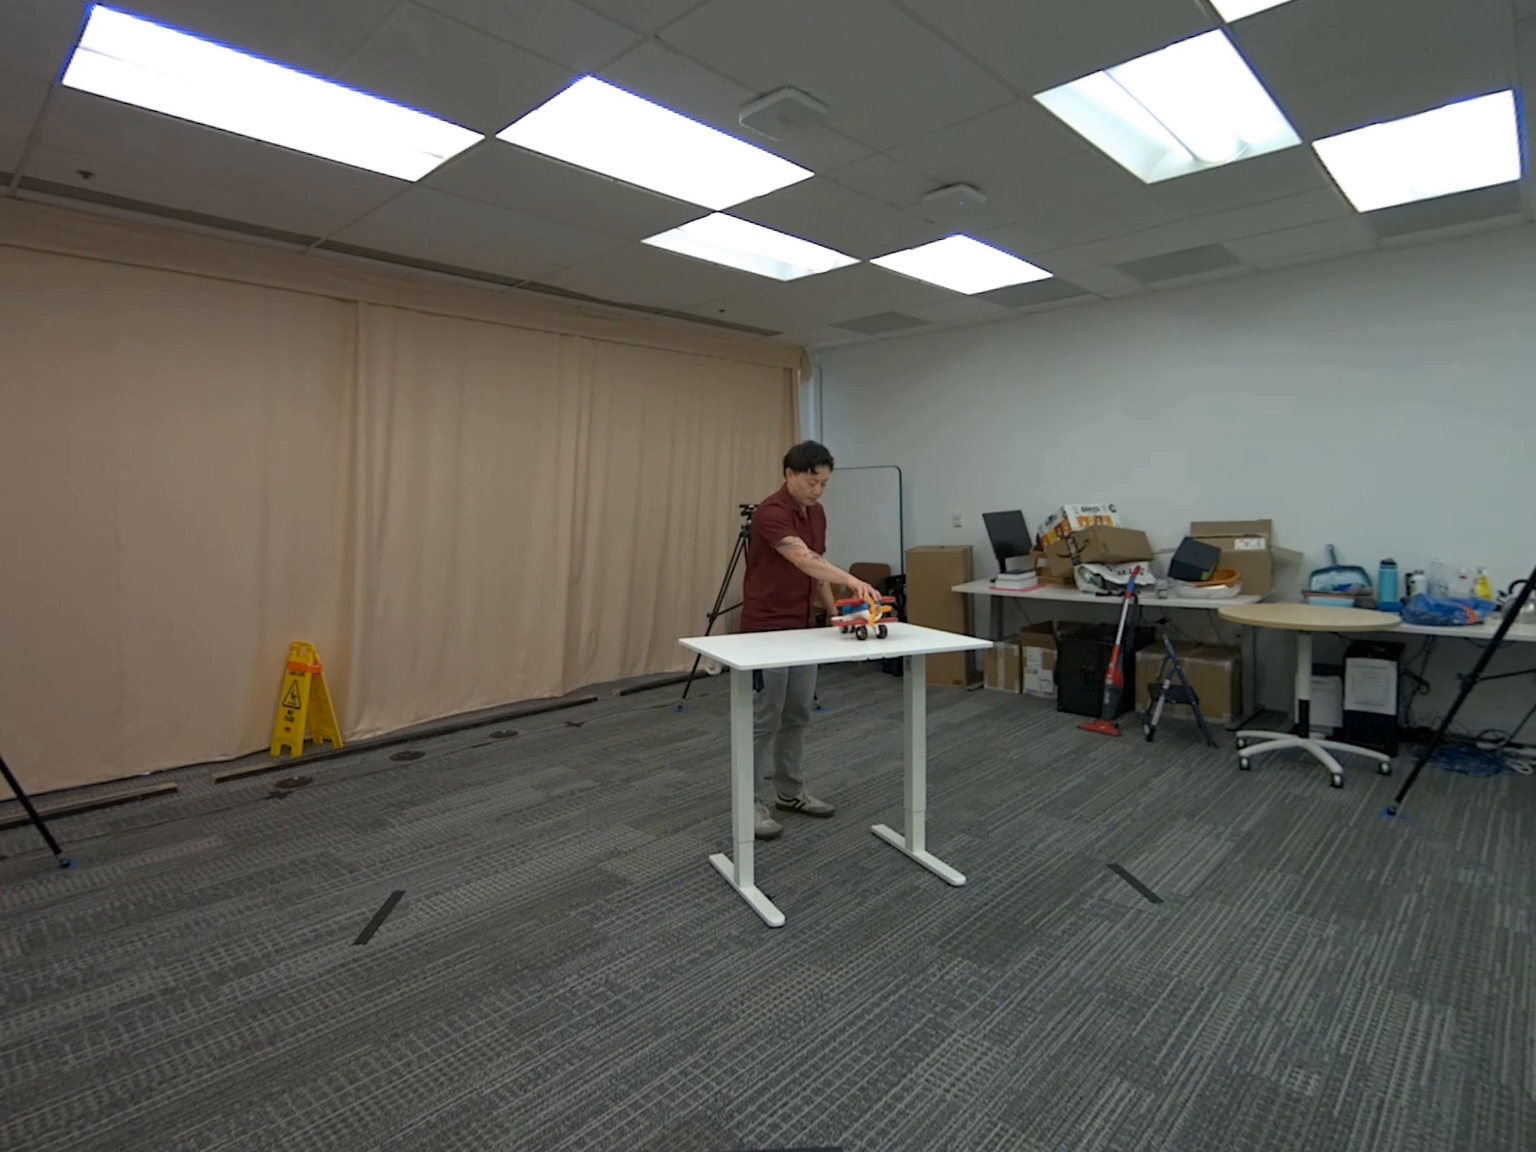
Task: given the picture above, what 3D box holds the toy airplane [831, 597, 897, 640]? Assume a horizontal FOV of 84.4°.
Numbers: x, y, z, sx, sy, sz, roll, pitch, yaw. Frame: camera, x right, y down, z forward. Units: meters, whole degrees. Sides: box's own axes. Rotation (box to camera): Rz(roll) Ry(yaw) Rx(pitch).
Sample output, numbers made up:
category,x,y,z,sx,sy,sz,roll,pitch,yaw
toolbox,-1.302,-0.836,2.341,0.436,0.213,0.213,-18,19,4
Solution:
category,x,y,z,sx,sy,sz,roll,pitch,yaw
toy airplane,0.339,0.155,3.219,0.268,0.156,0.243,4,6,40
